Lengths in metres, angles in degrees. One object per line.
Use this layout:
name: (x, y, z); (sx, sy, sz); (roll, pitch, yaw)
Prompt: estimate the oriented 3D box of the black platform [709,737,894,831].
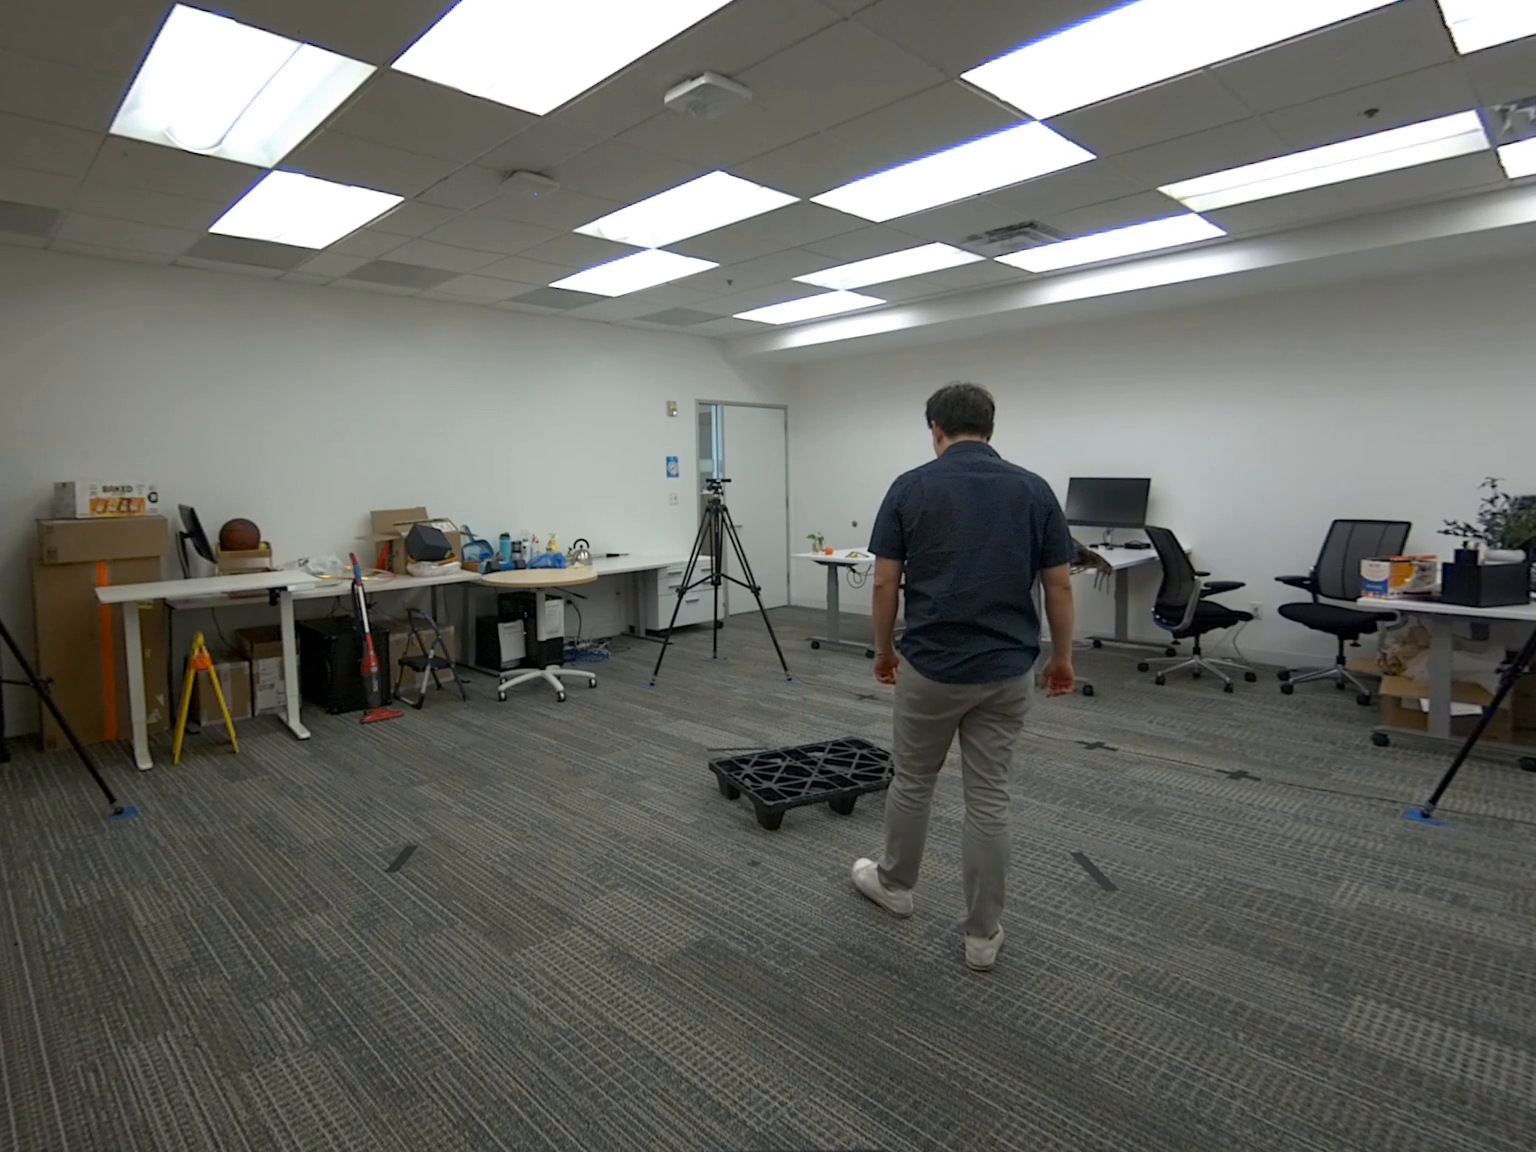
black platform: (0.214, 0.901, 3.751); (0.789, 0.143, 0.620); (-4, 6, -26)
